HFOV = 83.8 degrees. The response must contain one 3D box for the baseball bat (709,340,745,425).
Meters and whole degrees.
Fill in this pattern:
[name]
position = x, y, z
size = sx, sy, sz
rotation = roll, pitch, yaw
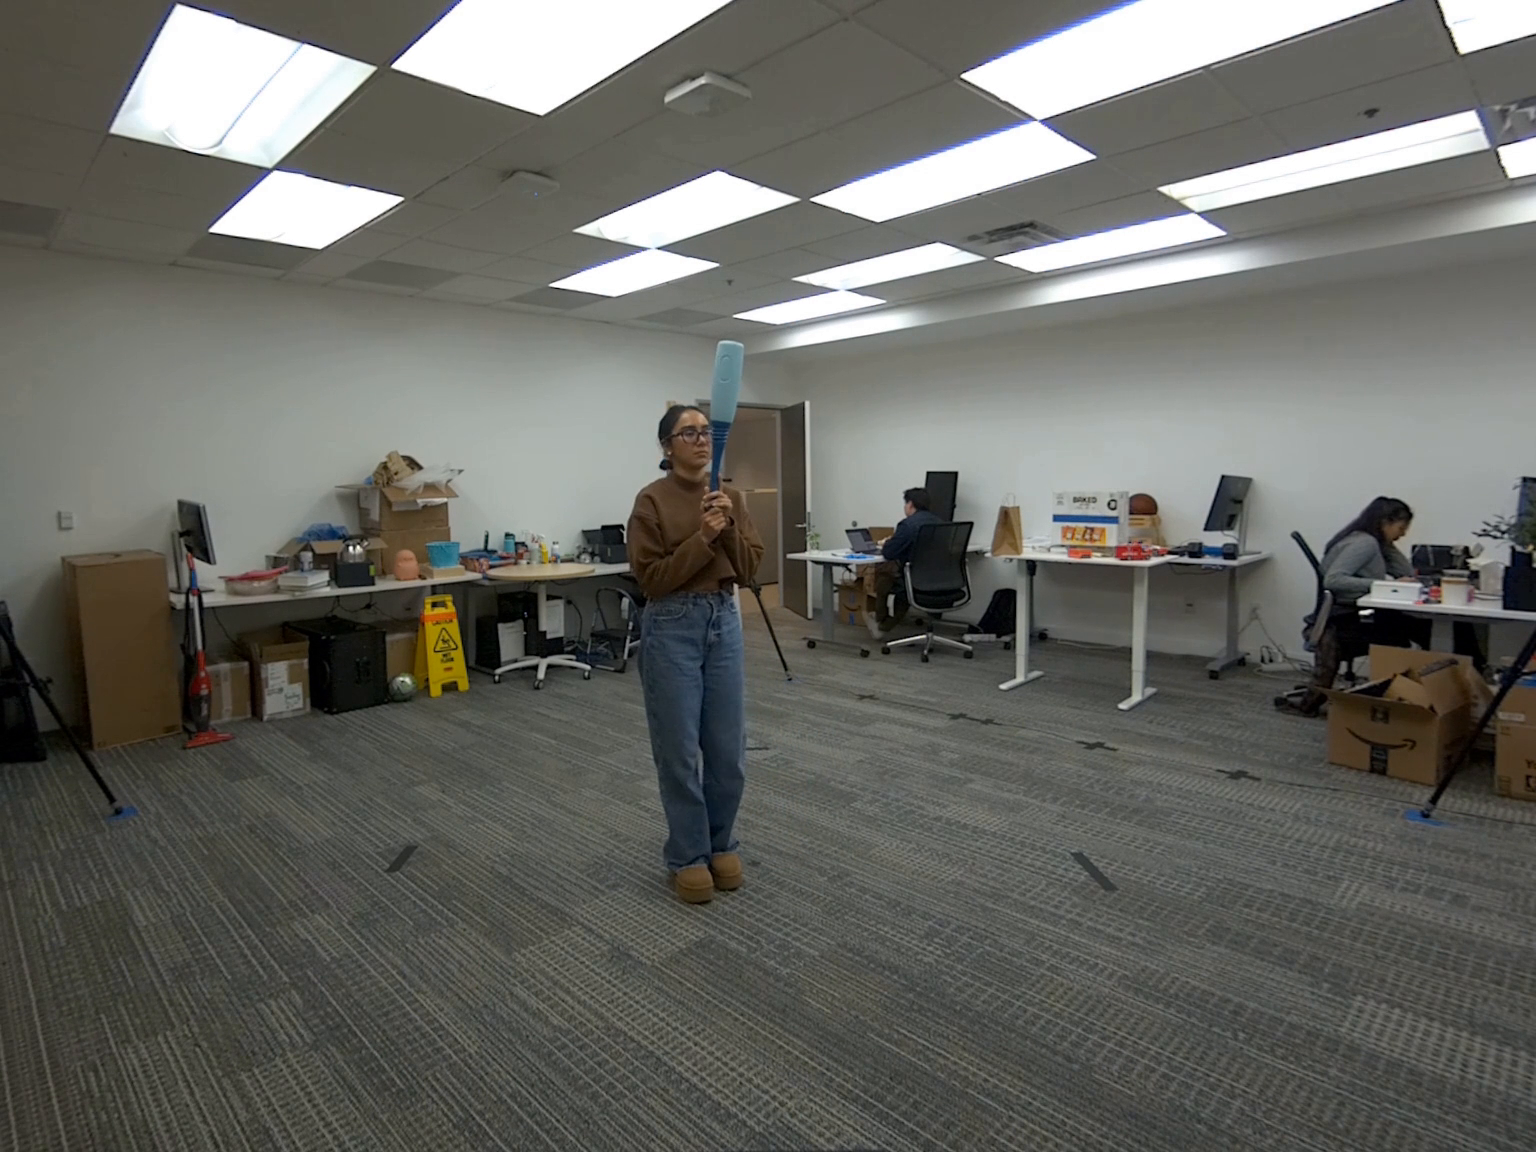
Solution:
[baseball bat]
position = -0.147, -0.472, 2.716
size = 0.089, 0.540, 0.090
rotation = 7, 7, -3
